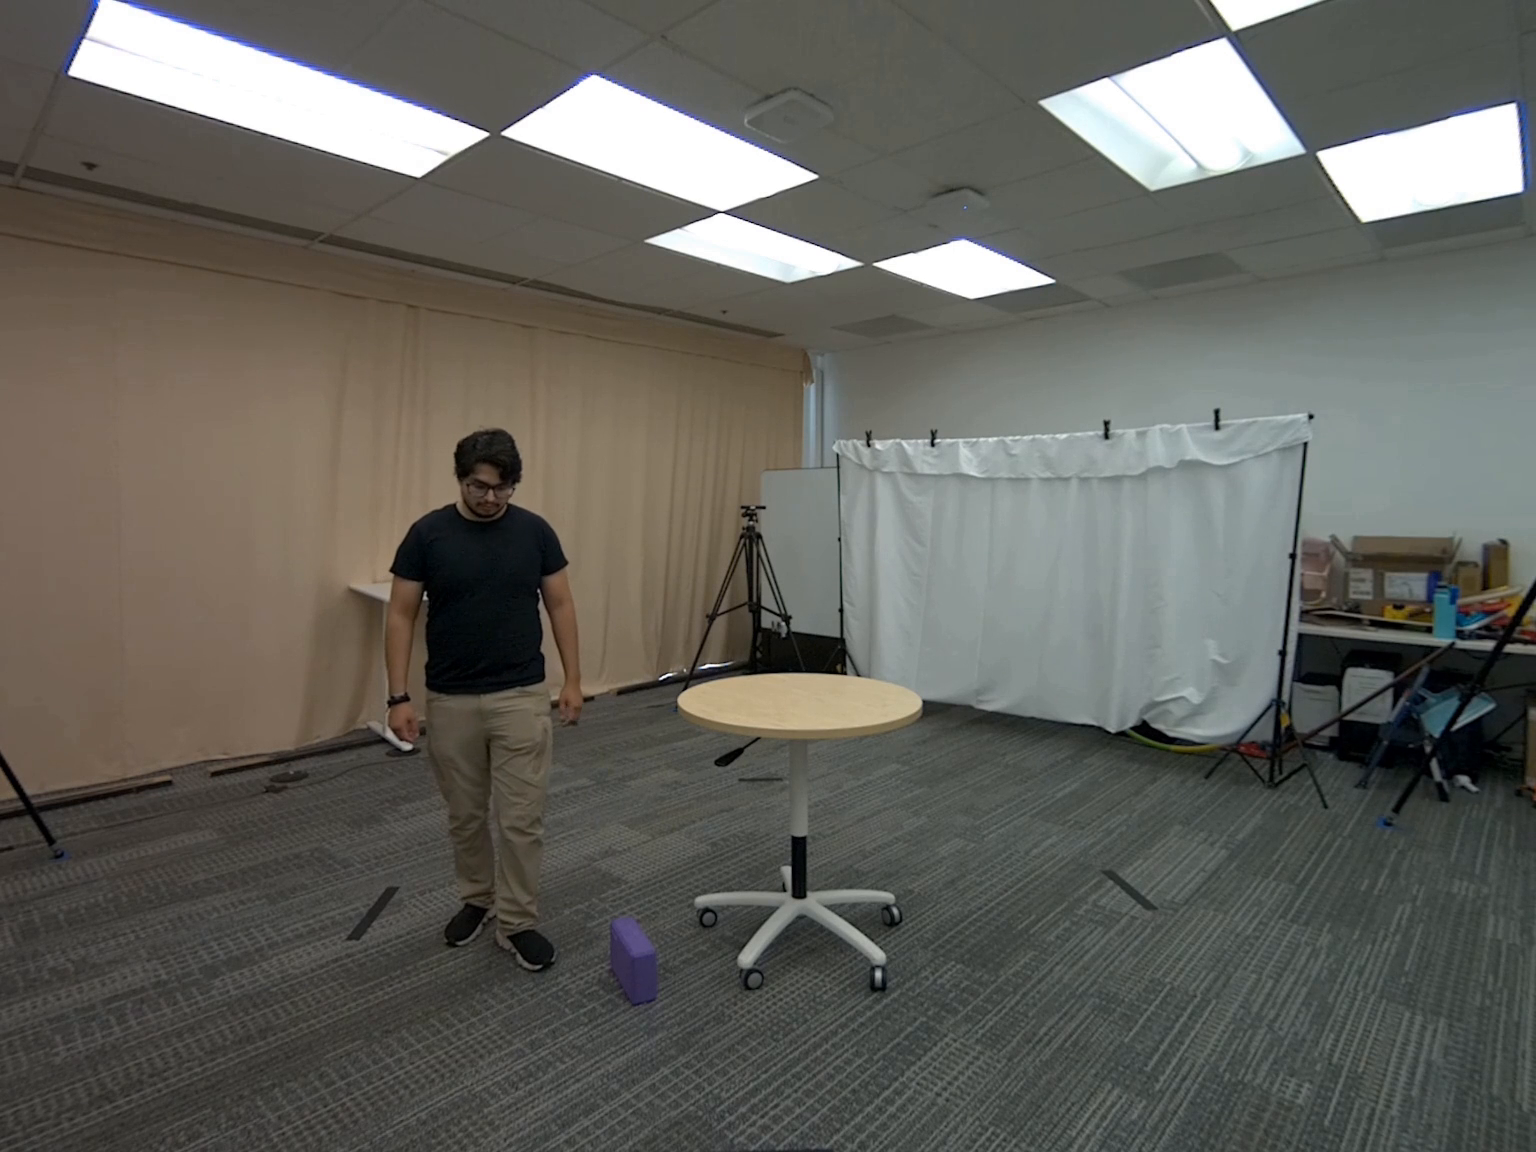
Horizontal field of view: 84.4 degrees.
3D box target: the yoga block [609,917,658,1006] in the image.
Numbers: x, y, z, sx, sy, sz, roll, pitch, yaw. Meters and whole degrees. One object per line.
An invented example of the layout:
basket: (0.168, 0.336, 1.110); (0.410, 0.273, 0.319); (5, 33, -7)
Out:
yoga block: (-0.393, 1.116, 2.450); (0.074, 0.149, 0.235); (0, 4, -26)
